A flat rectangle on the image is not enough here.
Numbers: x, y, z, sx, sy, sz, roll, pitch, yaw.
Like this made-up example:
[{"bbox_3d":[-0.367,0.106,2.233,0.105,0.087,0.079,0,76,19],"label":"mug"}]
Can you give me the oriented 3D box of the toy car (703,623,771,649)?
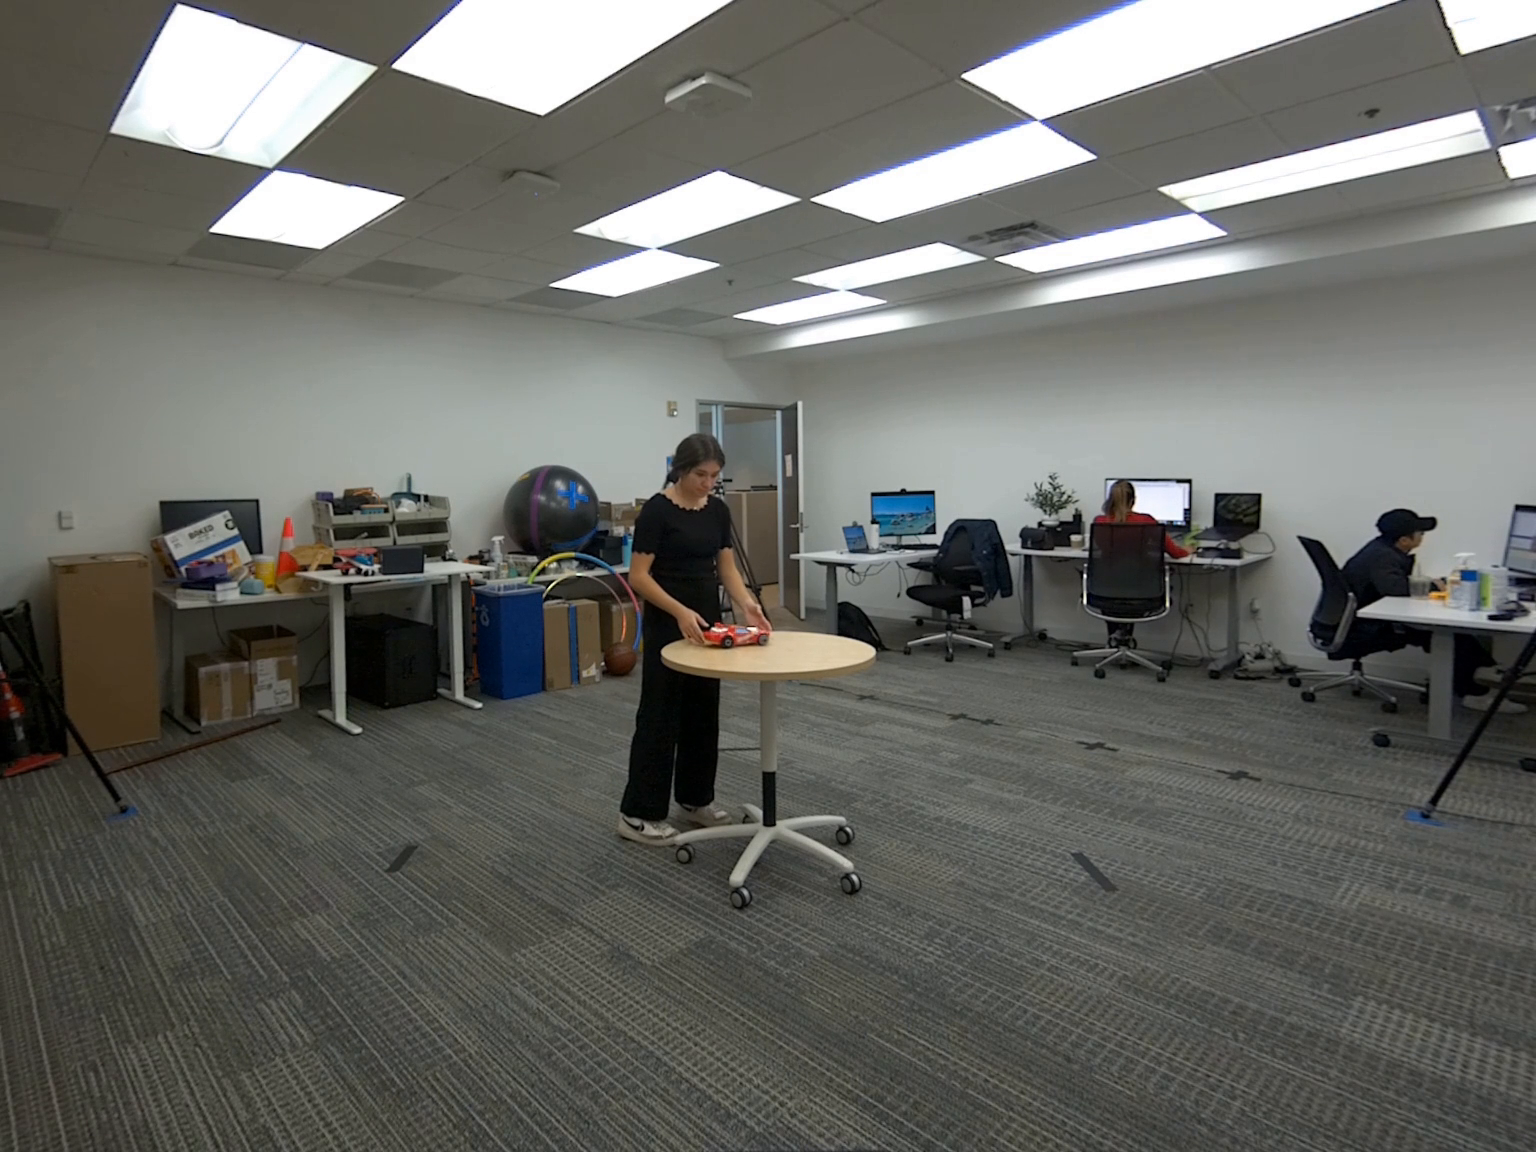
[{"bbox_3d":[-0.127,0.226,3.153,0.248,0.083,0.133,9,1,-24],"label":"toy car"}]
